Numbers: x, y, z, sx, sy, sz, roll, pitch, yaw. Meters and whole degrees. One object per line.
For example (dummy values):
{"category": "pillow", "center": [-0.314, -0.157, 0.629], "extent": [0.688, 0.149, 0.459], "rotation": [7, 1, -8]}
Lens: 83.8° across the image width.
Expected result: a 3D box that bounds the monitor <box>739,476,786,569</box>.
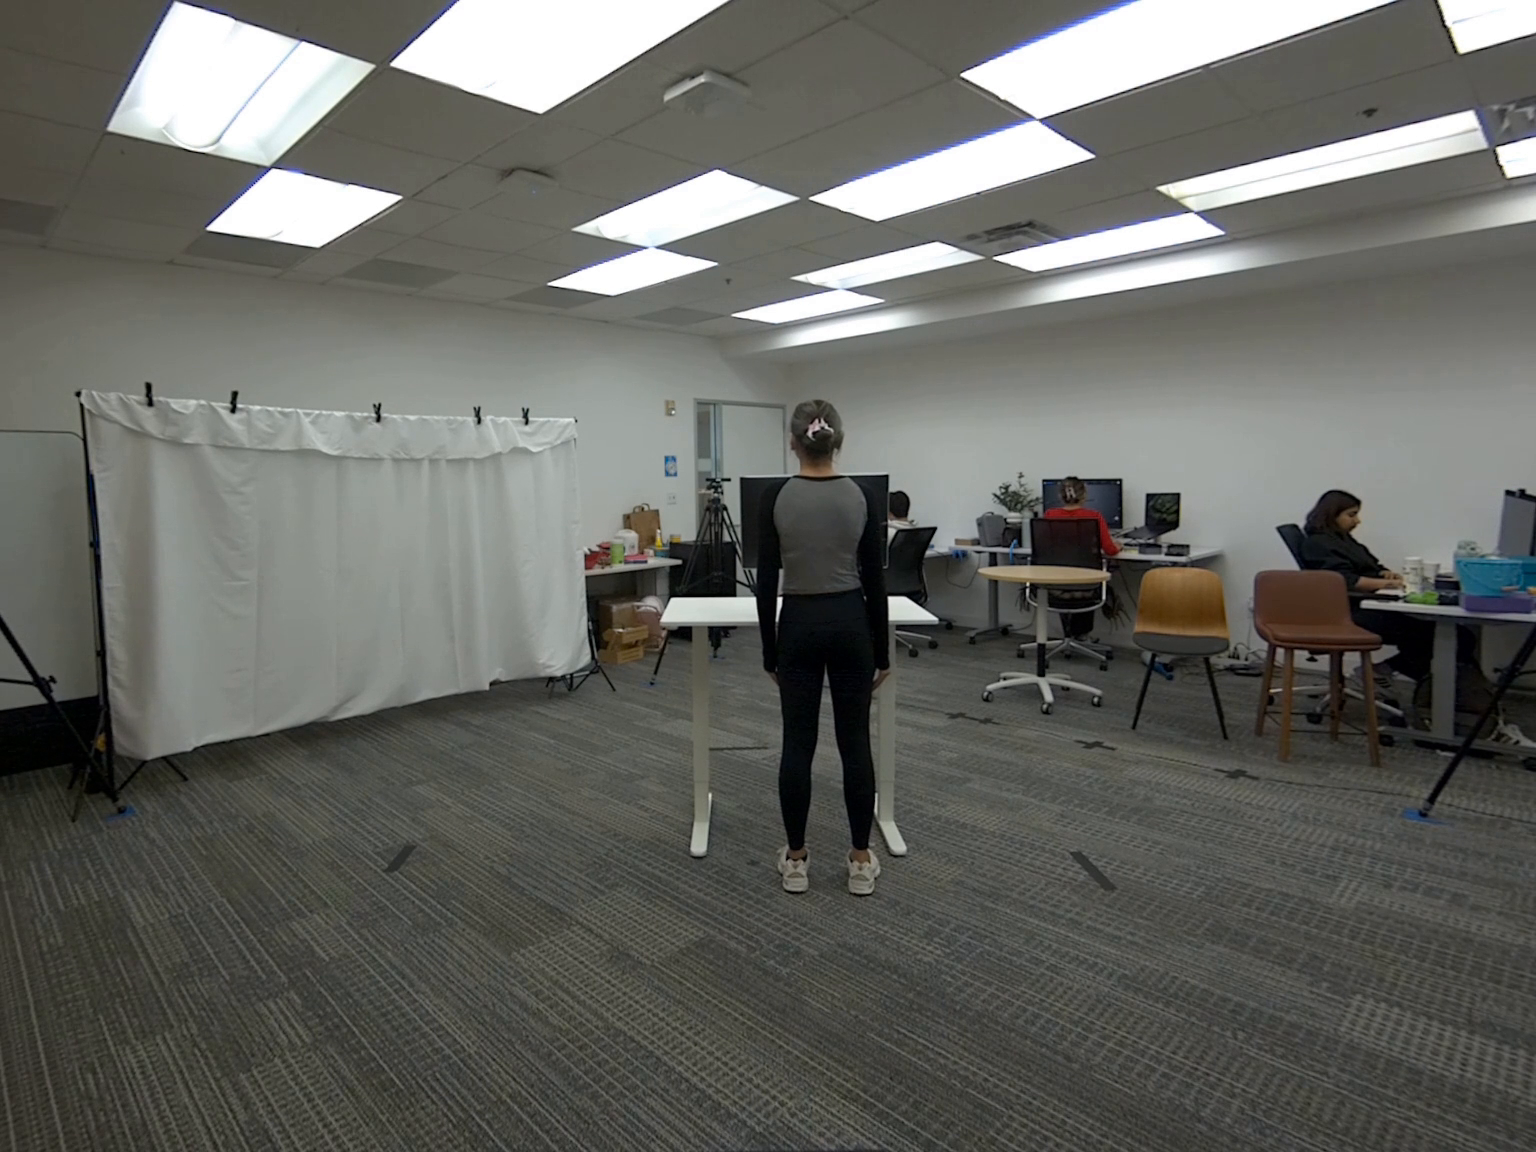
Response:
{"category": "monitor", "center": [0.166, -0.109, 3.199], "extent": [0.540, 0.521, 0.187], "rotation": [0, 2, 1]}
